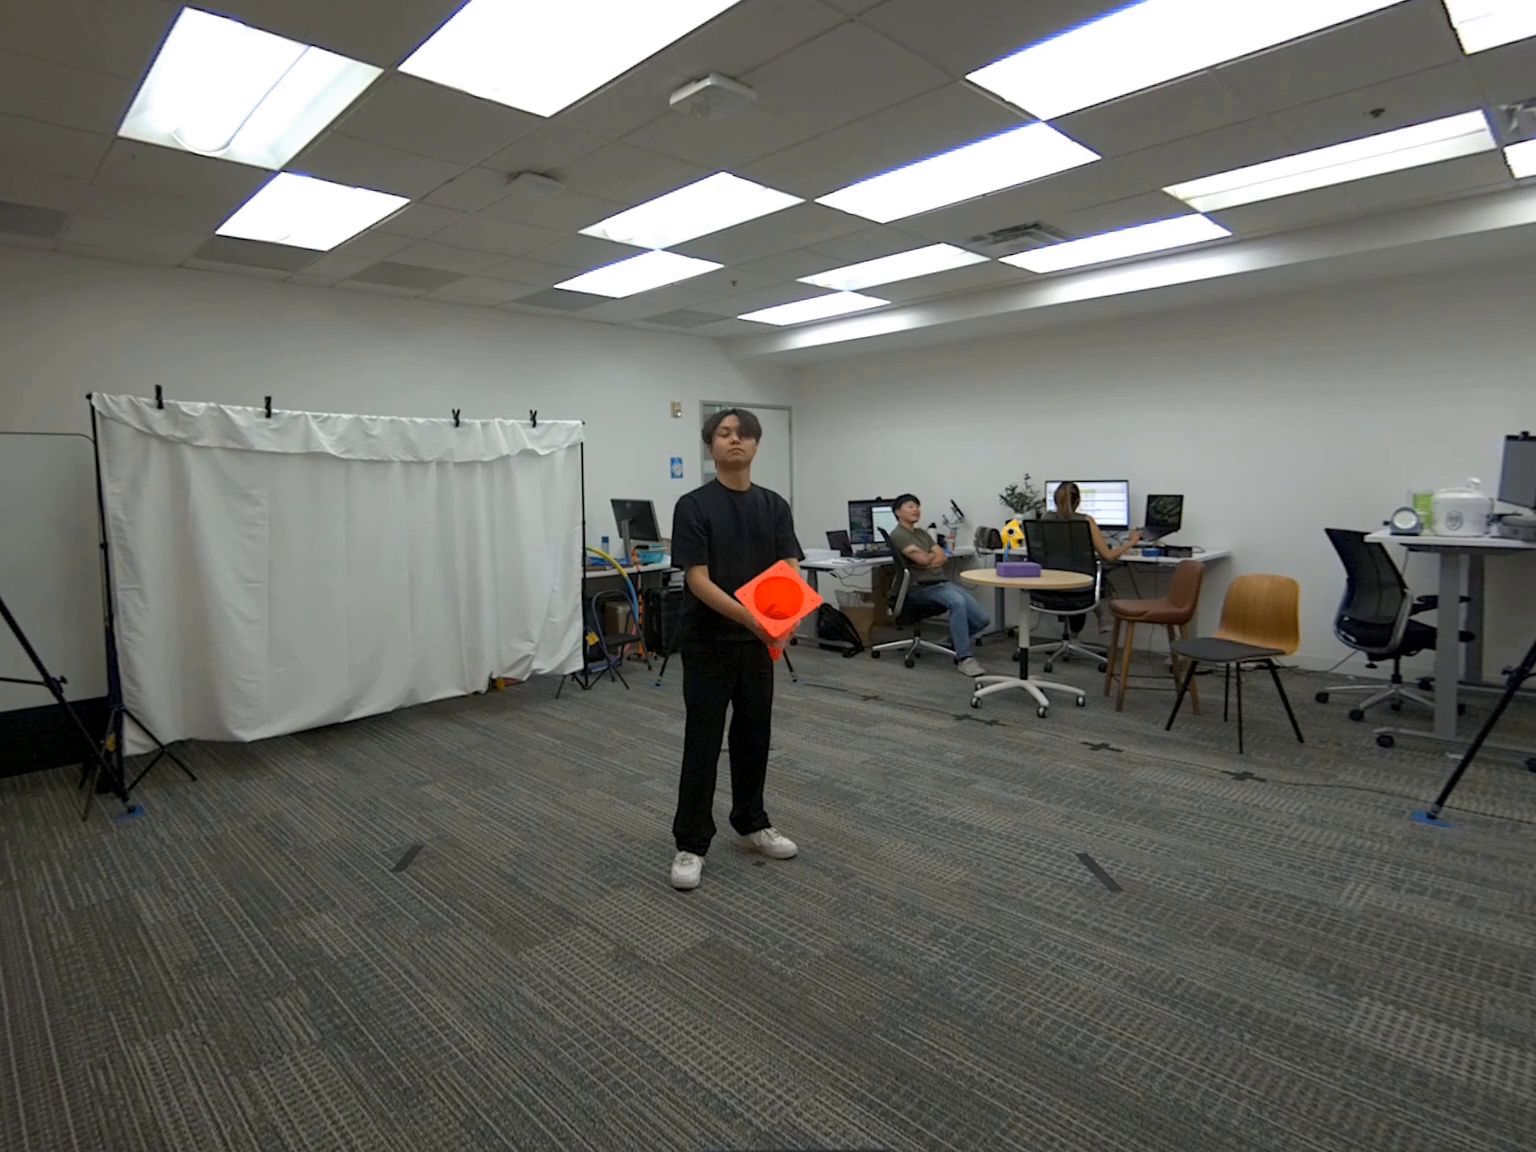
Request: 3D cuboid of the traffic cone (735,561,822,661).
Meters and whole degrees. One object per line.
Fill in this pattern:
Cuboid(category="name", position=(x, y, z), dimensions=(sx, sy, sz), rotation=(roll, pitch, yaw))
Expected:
Cuboid(category="traffic cone", position=(0.023, 0.174, 2.756), dimensions=(0.204, 0.374, 0.210), rotation=(-37, 63, -24))
